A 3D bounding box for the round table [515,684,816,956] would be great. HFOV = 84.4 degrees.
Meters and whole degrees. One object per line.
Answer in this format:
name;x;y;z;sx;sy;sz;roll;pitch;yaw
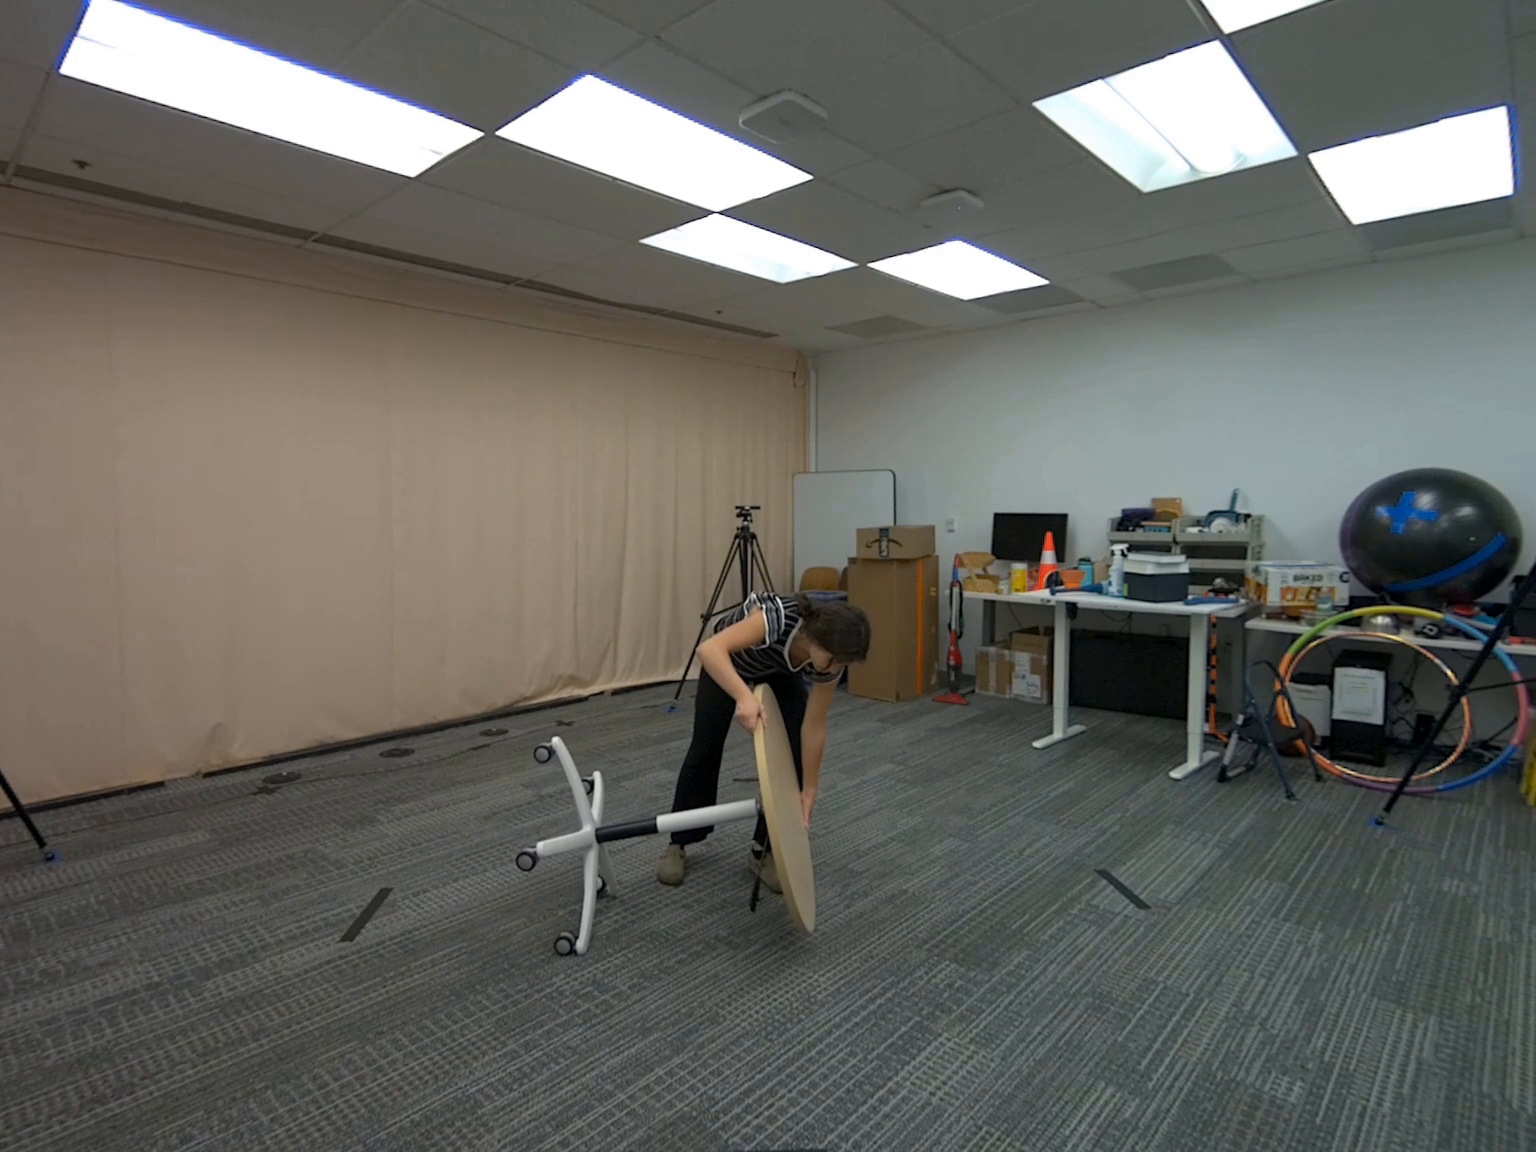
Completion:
round table;-0.320;0.813;2.755;0.800;0.763;0.760;-12;2;7
